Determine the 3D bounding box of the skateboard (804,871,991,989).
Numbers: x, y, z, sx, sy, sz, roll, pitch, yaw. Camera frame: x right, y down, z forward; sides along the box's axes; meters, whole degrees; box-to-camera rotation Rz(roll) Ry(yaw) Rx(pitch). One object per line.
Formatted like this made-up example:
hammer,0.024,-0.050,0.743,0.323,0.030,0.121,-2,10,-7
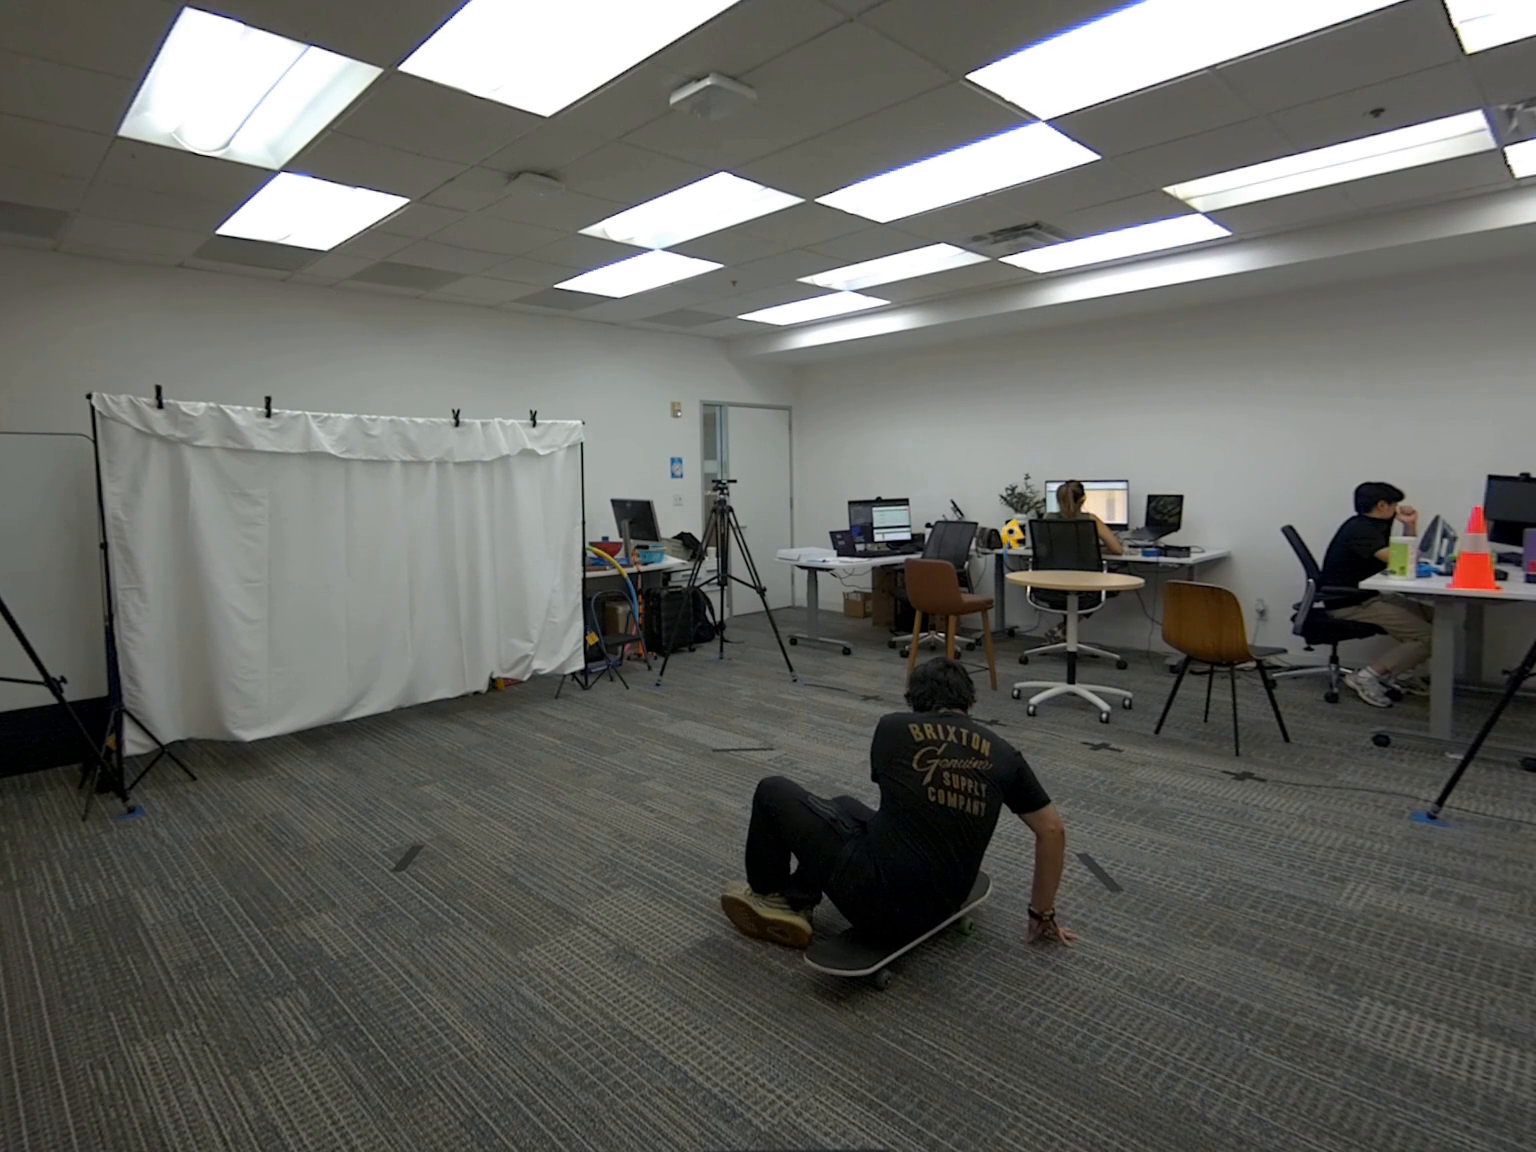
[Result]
skateboard,0.409,1.052,2.531,0.765,0.110,0.199,-8,7,-43
